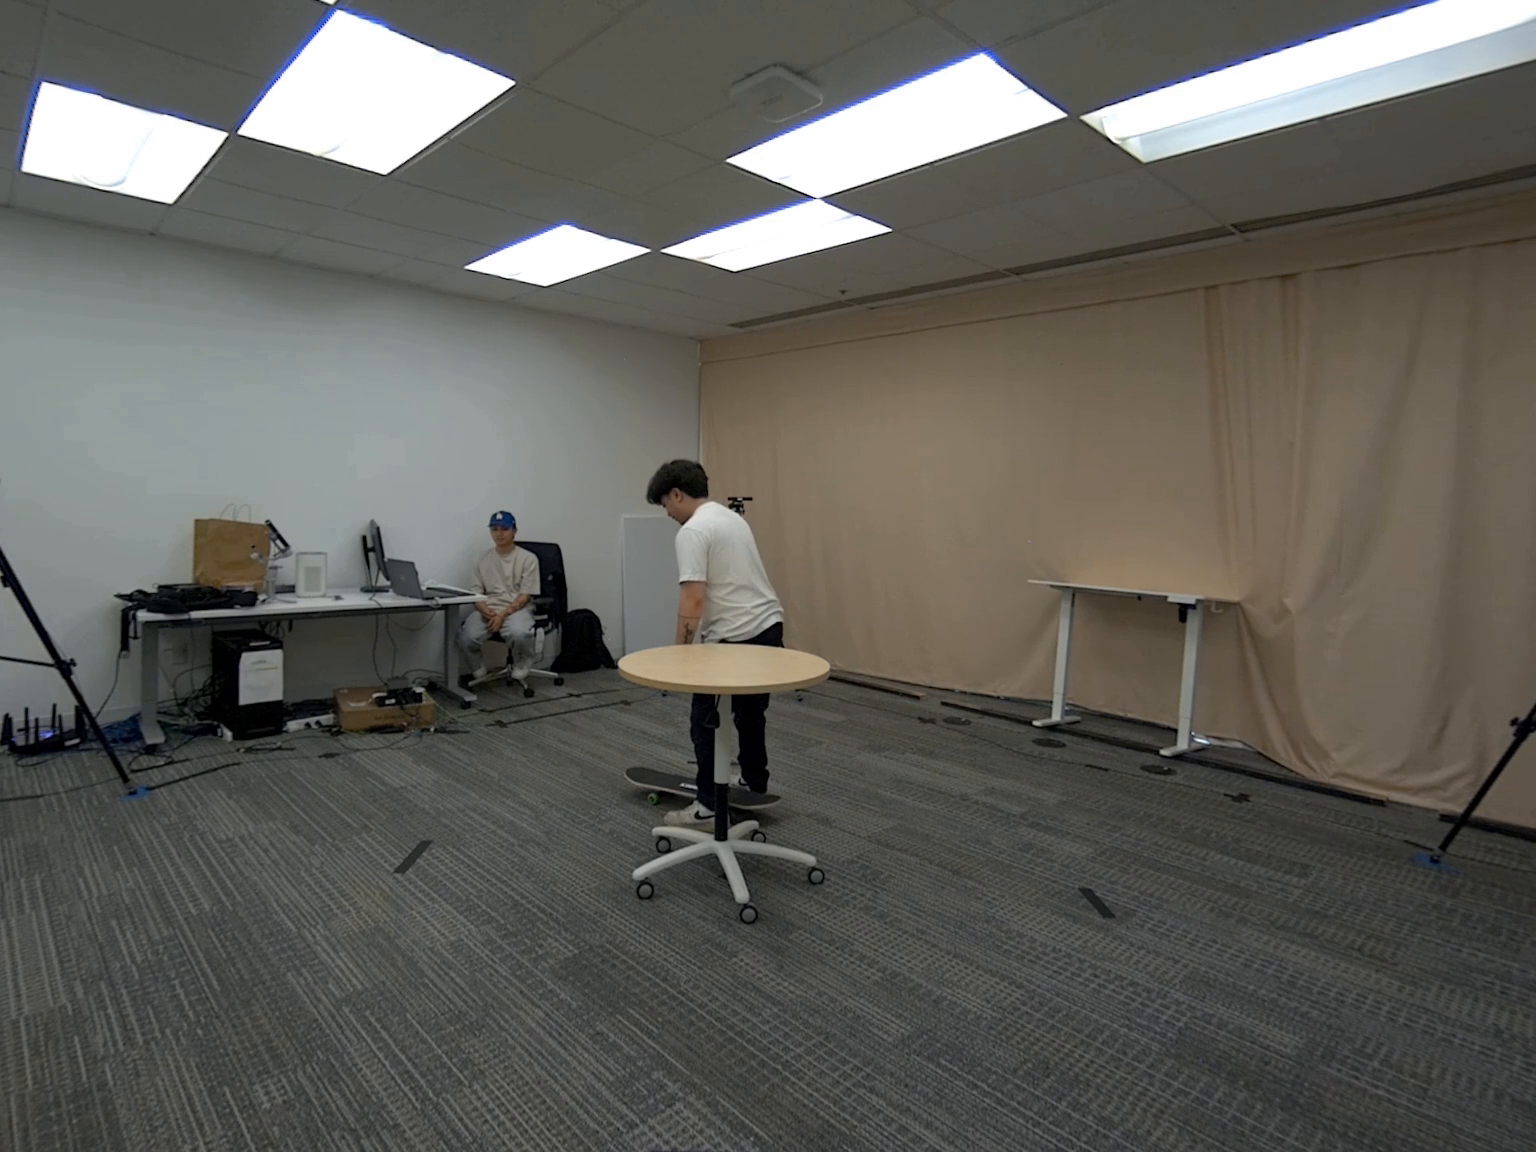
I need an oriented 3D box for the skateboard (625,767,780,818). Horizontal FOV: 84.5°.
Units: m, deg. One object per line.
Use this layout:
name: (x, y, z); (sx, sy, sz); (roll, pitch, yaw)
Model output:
skateboard: (-0.317, 0.989, 3.797); (0.802, 0.110, 0.190); (4, 5, 27)
